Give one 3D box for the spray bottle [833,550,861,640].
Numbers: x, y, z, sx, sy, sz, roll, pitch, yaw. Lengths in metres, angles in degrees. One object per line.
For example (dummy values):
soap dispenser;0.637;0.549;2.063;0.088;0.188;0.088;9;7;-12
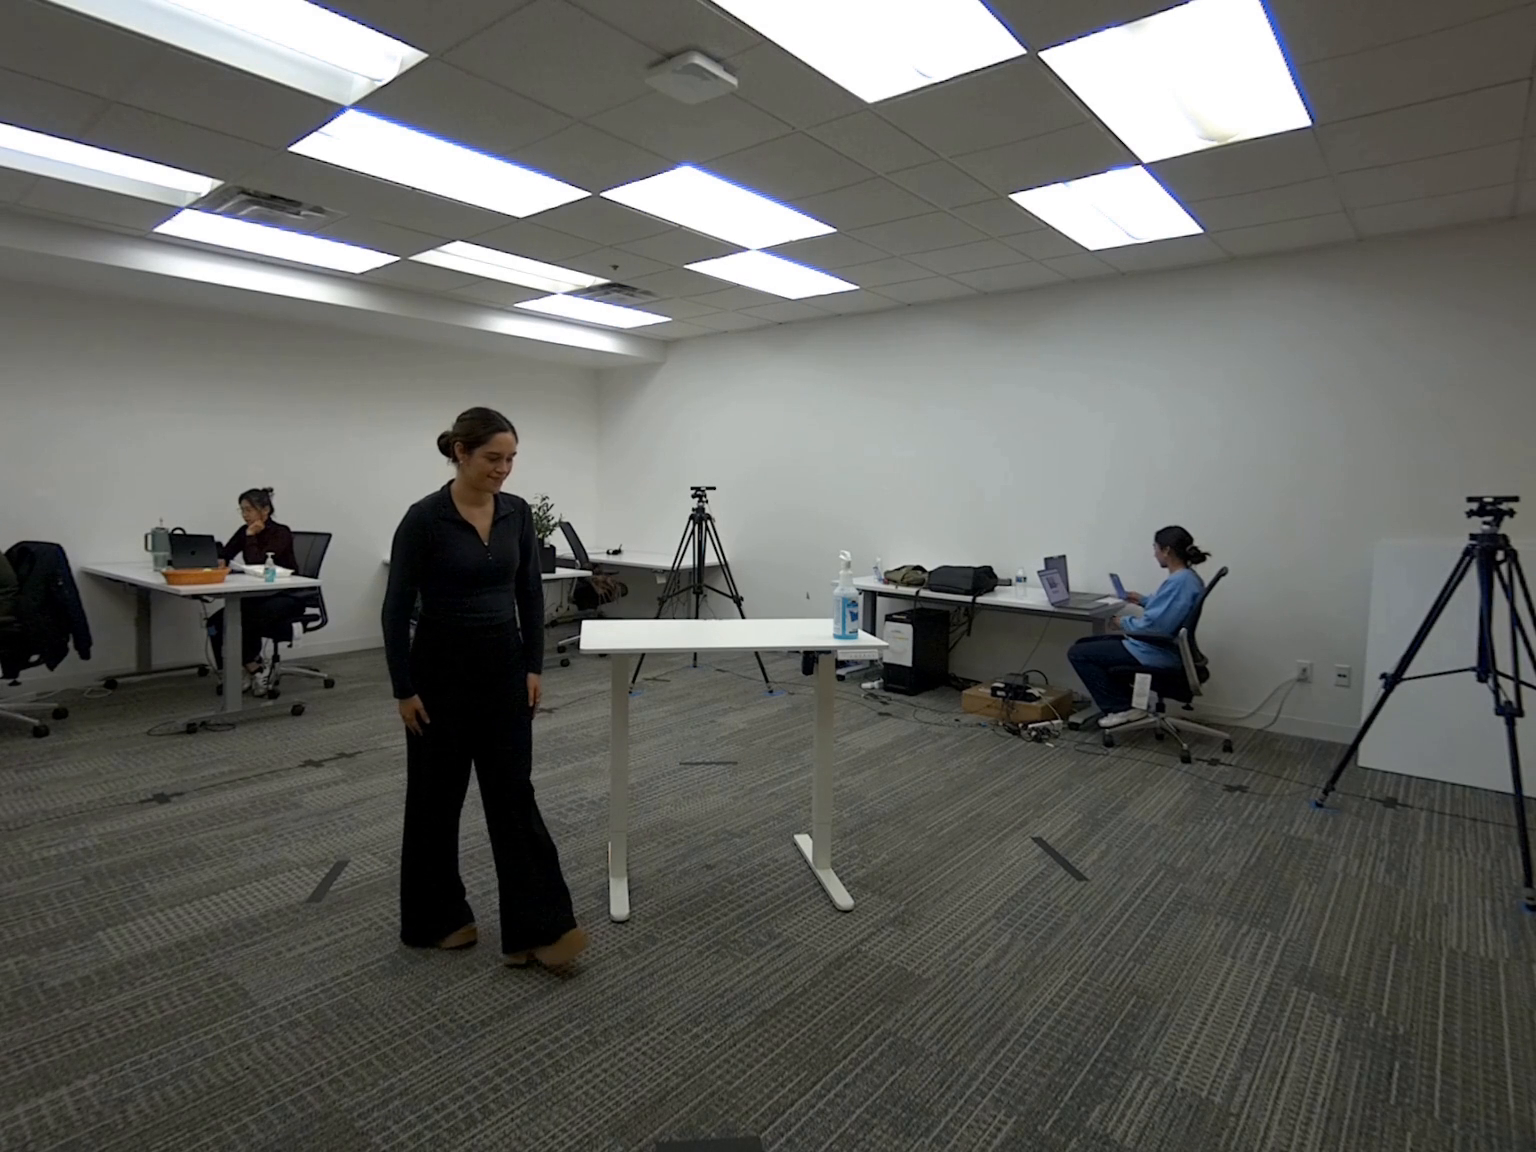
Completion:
spray bottle;0.260;0.067;2.902;0.088;0.297;0.089;1;2;13
